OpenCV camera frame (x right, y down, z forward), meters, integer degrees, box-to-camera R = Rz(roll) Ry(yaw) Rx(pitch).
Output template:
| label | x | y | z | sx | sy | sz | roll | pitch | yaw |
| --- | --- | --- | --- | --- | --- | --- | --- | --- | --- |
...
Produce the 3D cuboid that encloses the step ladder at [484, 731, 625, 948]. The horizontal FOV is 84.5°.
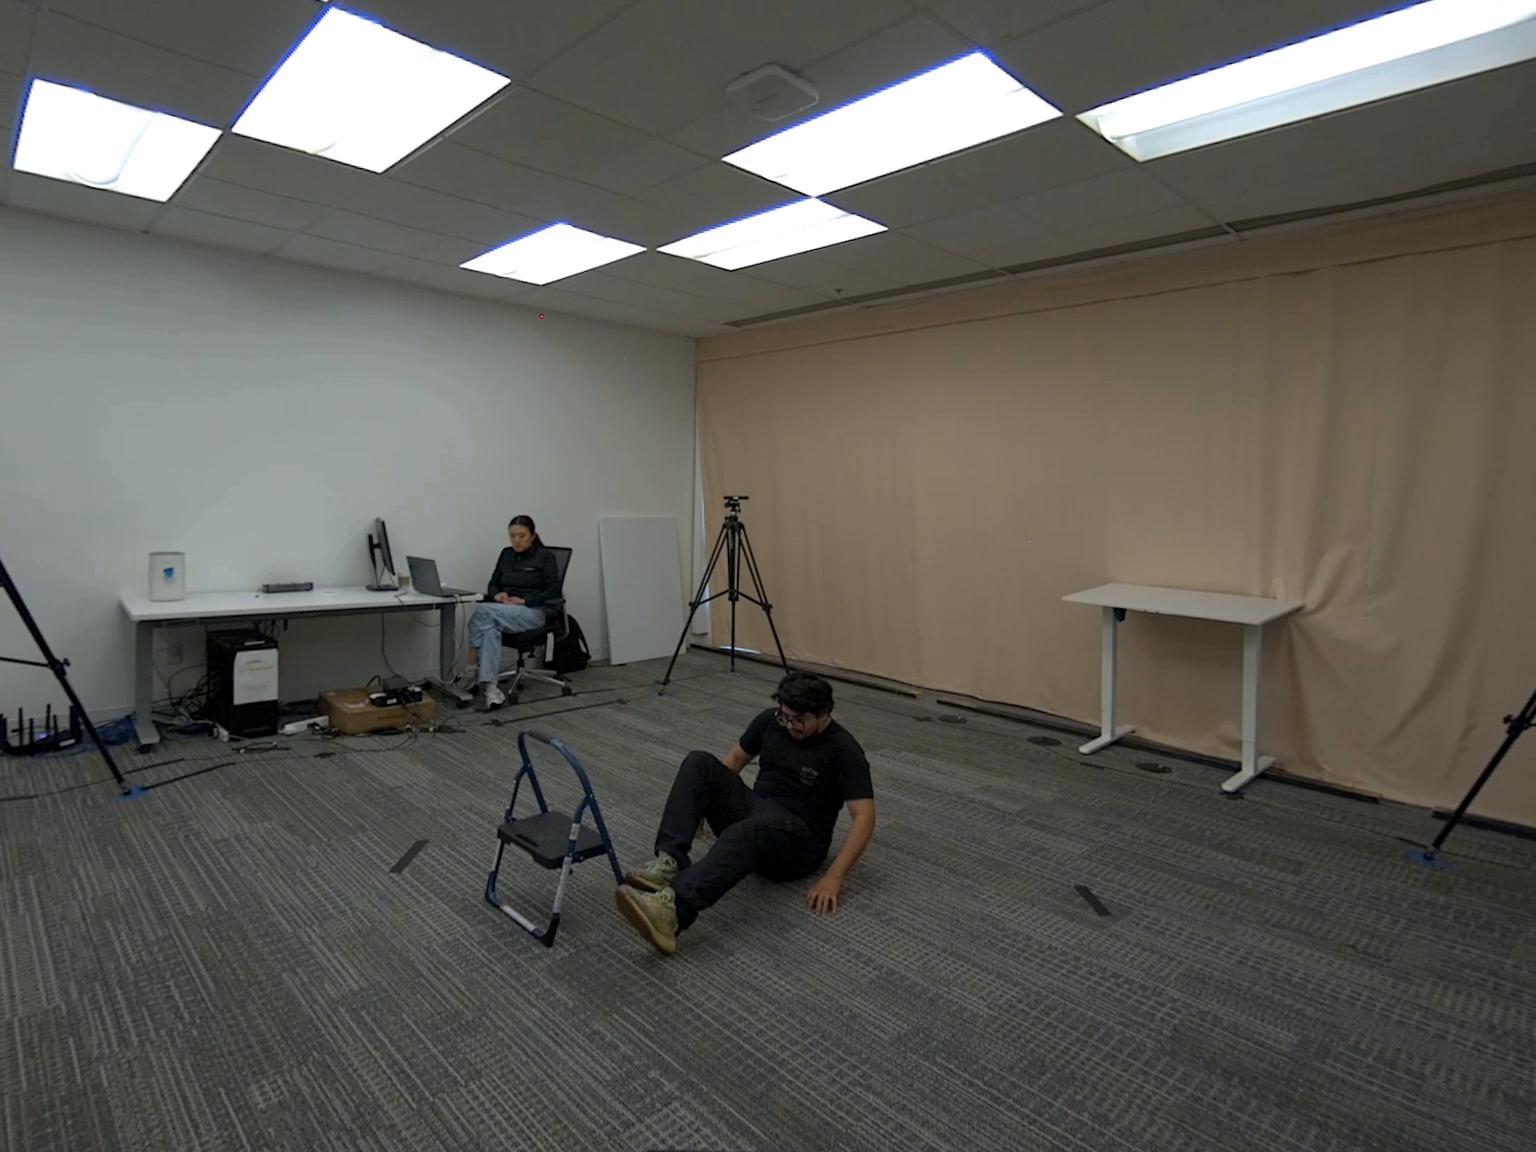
| label | x | y | z | sx | sy | sz | roll | pitch | yaw |
| --- | --- | --- | --- | --- | --- | --- | --- | --- | --- |
| step ladder | -0.702 | 0.815 | 2.822 | 0.341 | 0.604 | 0.441 | -2 | 5 | -45 |
